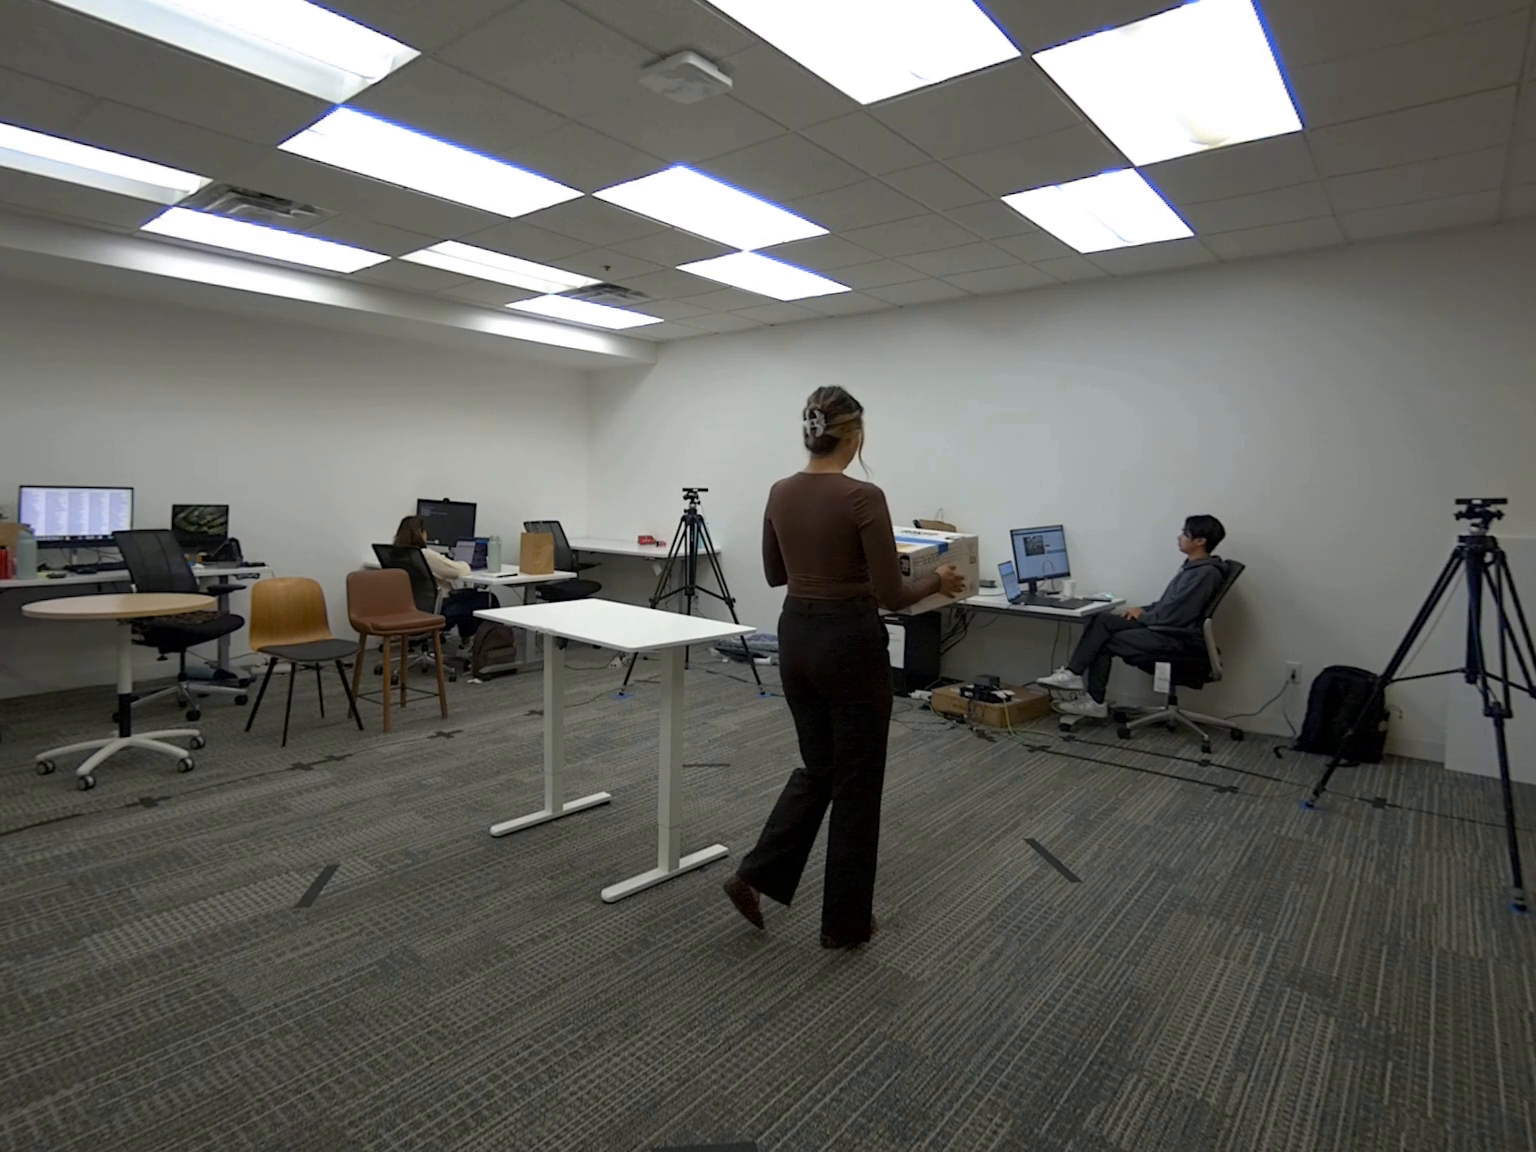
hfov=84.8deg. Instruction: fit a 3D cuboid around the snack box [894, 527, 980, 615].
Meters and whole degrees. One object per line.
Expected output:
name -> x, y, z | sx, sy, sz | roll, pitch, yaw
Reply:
snack box -> 0.425, -0.029, 2.865 | 0.332, 0.203, 0.419 | -13, 14, -37
